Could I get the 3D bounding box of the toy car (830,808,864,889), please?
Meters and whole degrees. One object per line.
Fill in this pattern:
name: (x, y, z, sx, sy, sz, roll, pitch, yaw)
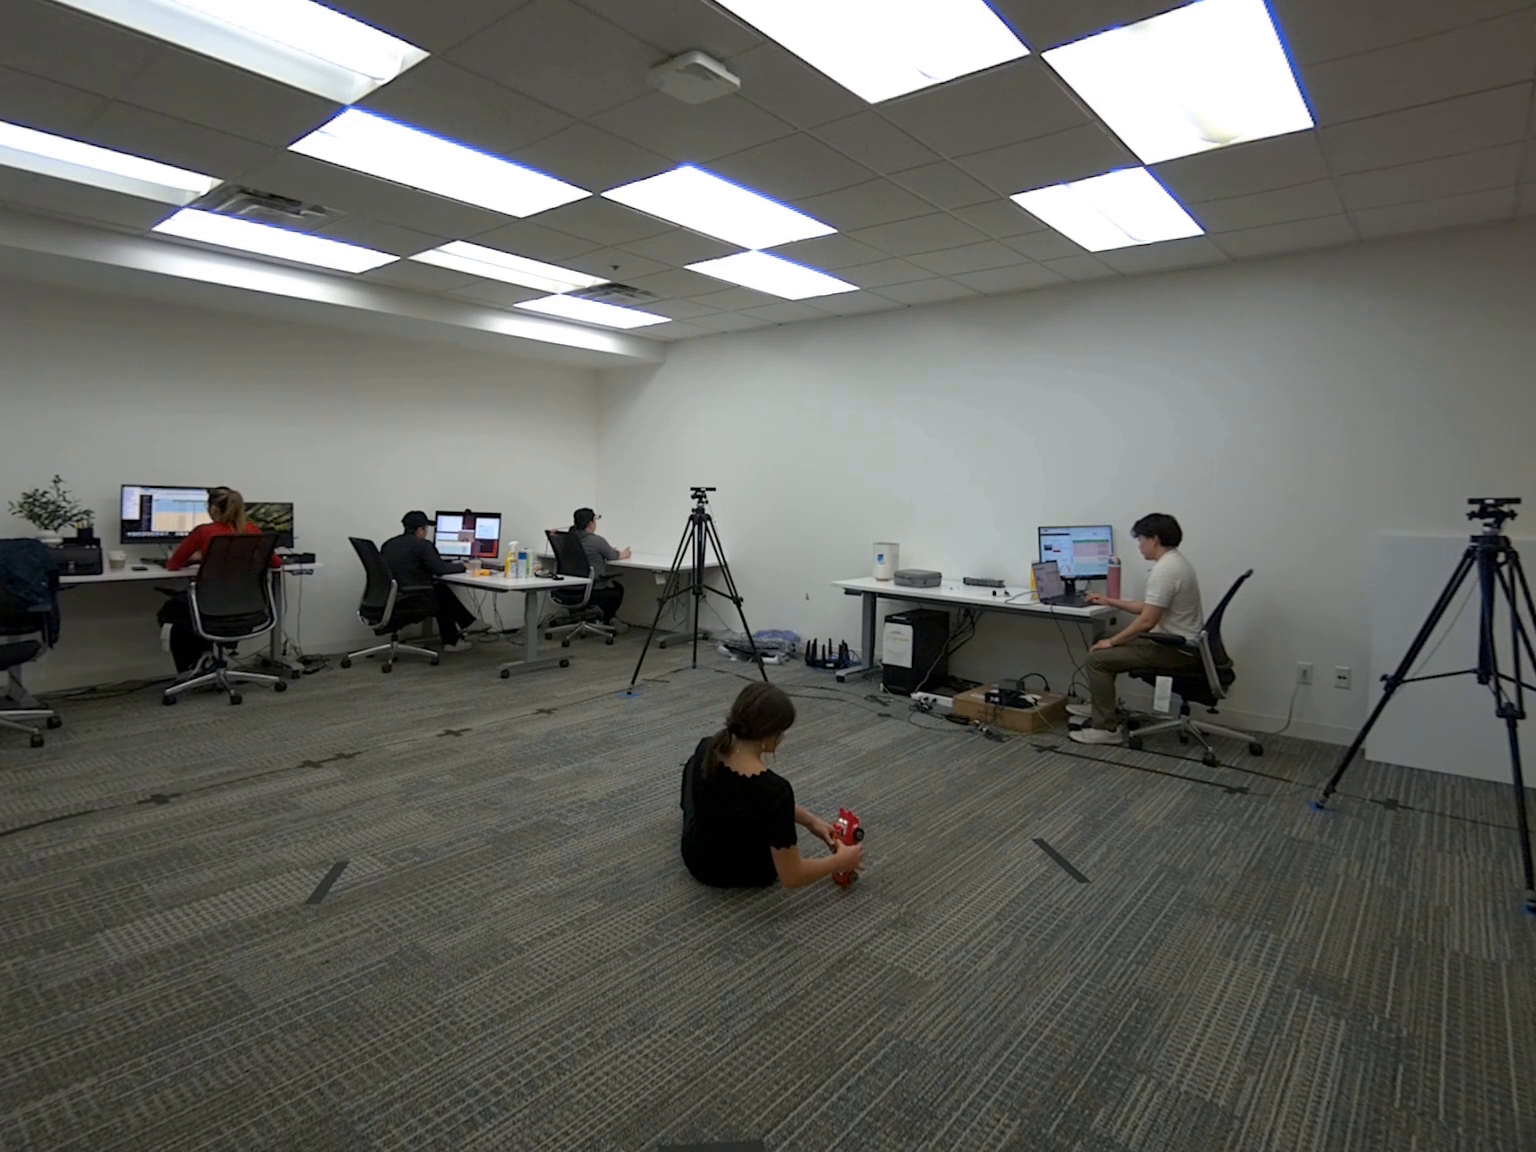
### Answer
toy car: (0.273, 0.959, 3.025, 0.081, 0.255, 0.133, 0, -3, -26)
